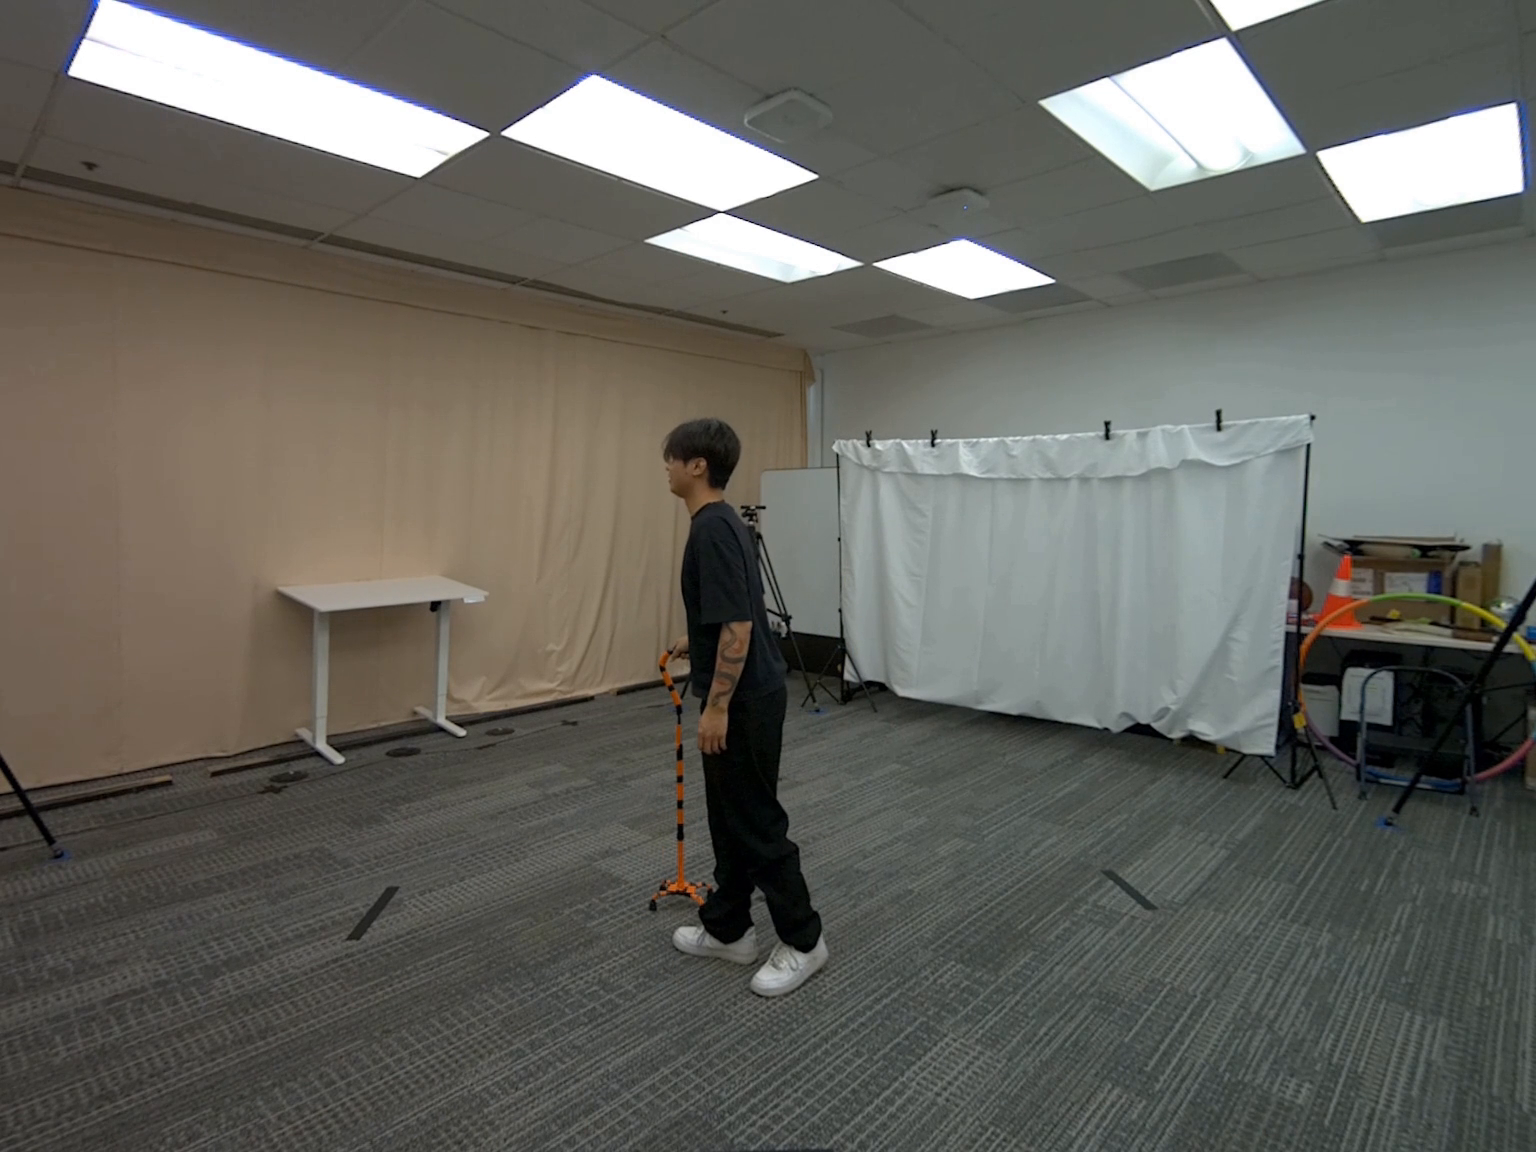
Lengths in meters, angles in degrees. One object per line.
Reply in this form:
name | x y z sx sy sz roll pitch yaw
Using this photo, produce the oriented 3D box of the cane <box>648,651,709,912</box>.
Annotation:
cane | -0.308 0.704 2.933 0.209 0.906 0.150 -1 3 9
